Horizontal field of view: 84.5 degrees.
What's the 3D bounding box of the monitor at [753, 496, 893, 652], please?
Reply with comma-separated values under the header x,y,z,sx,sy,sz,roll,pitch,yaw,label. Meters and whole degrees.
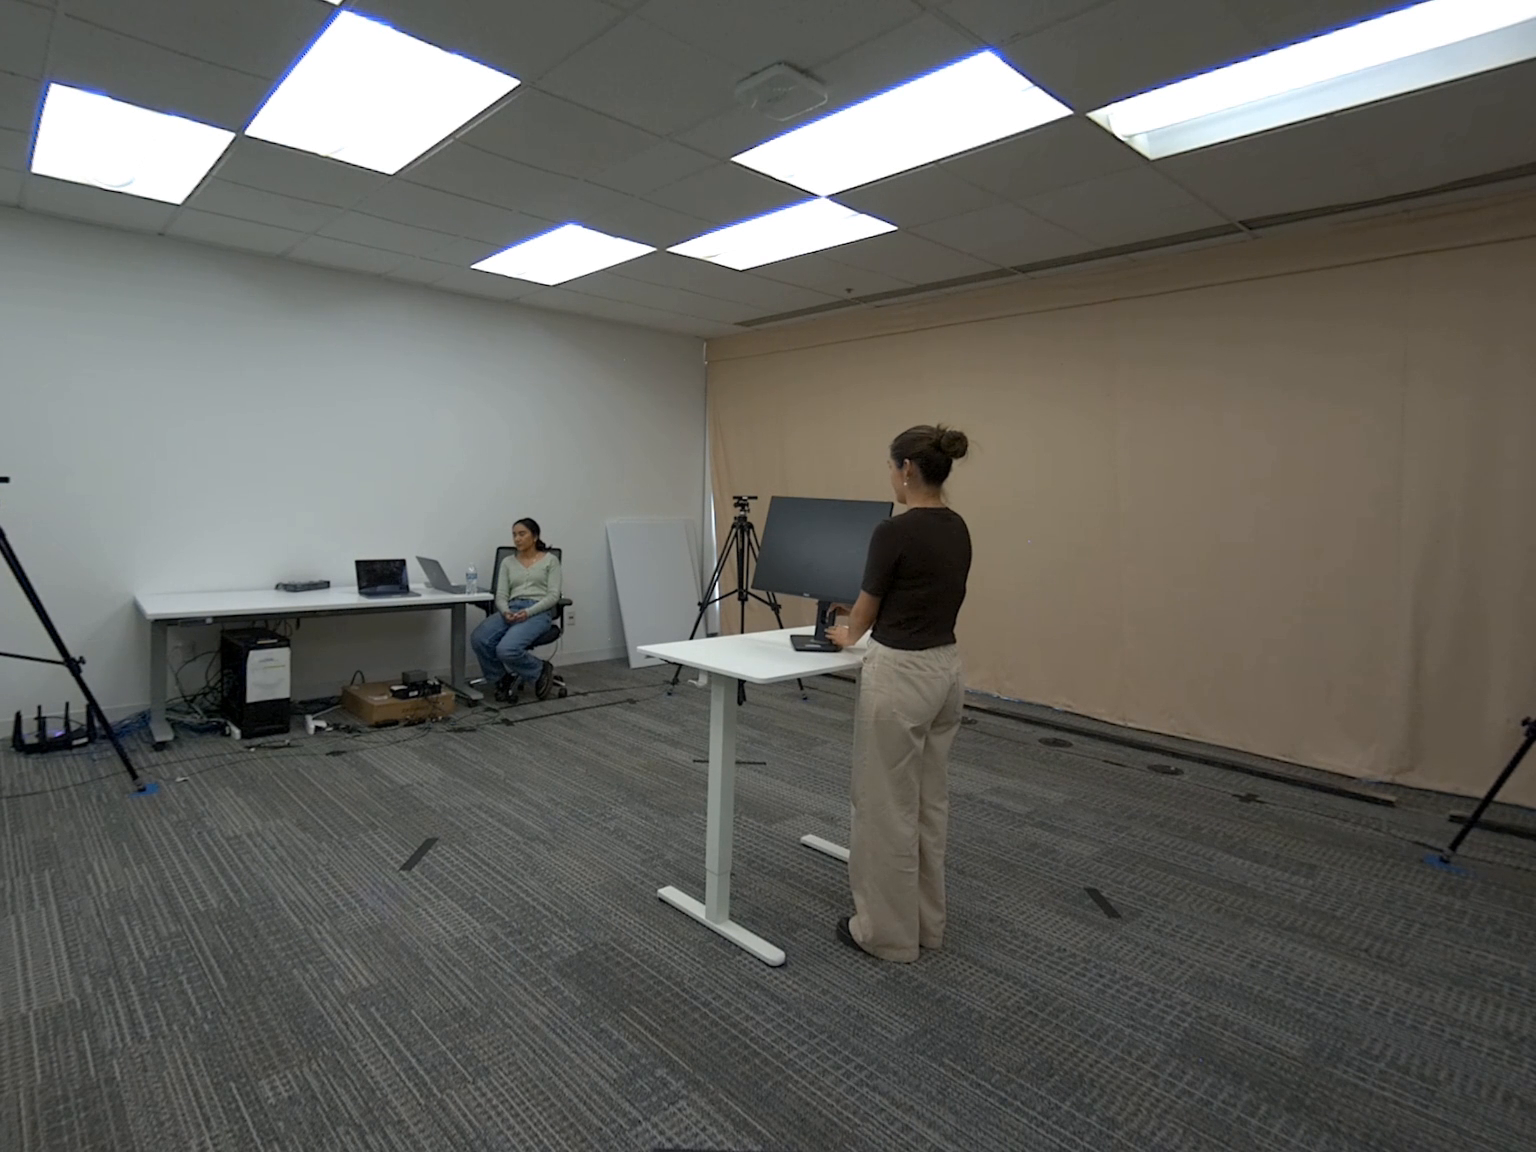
x,y,z,sx,sy,sz,roll,pitch,yaw,label
0.194,-0.006,2.914,0.553,0.520,0.183,7,8,40,monitor
